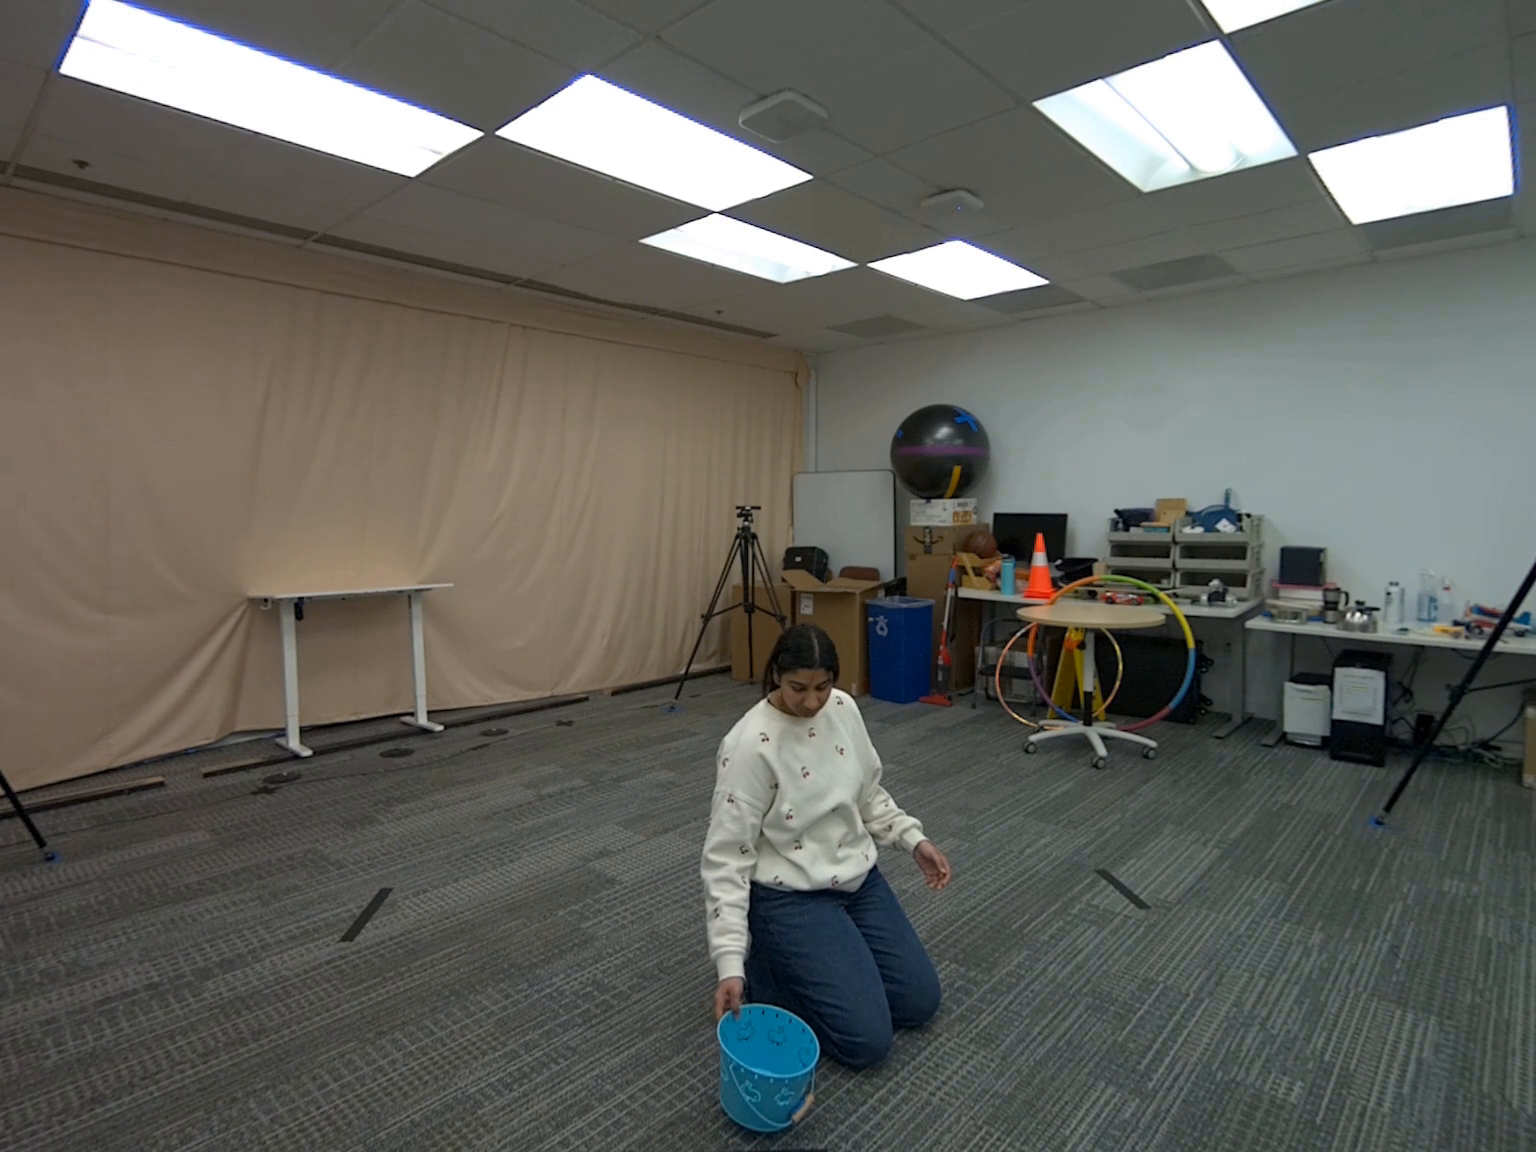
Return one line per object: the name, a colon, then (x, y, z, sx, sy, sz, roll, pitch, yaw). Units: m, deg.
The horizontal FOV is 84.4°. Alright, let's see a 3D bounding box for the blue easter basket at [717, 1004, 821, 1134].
blue easter basket: (0.001, 1.110, 1.900, 0.243, 0.155, 0.245, 6, 7, -3)
